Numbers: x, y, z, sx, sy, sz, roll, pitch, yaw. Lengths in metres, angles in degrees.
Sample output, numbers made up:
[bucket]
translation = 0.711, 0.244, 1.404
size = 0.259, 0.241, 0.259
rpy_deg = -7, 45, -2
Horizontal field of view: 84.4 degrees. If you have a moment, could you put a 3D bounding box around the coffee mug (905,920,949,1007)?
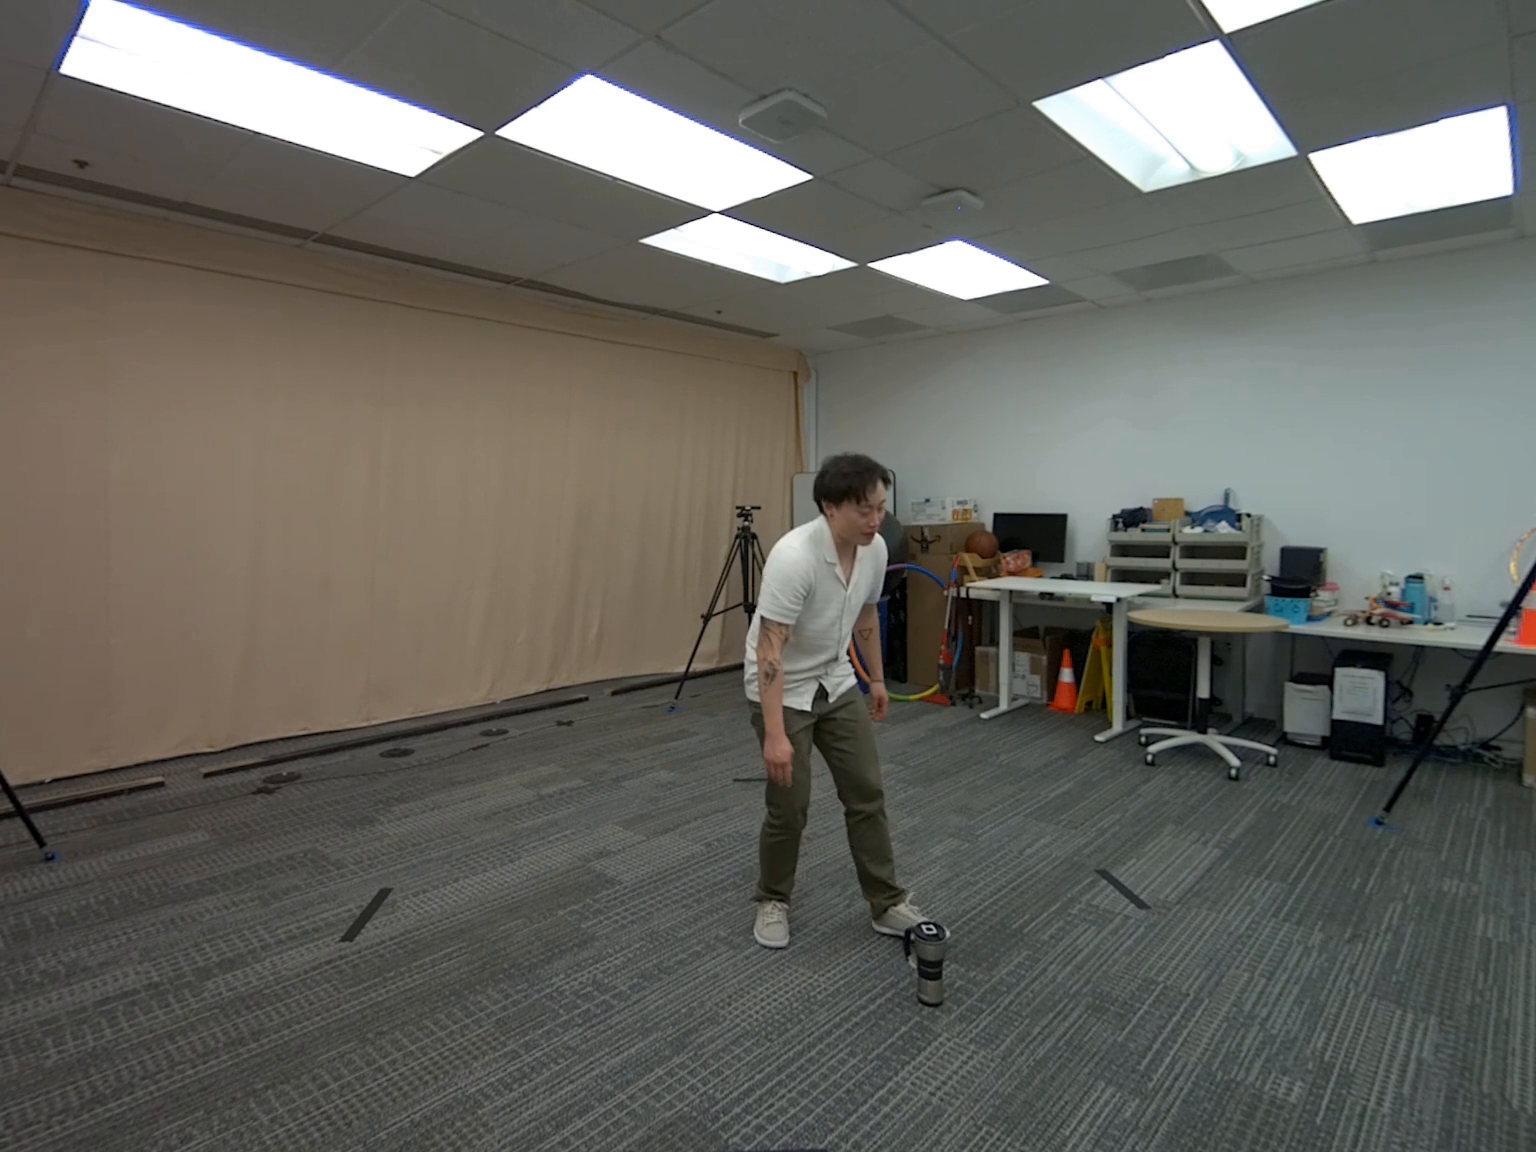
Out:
[coffee mug]
translation = 0.454, 1.092, 2.390
size = 0.086, 0.202, 0.125
rpy_deg = -4, 7, -20
